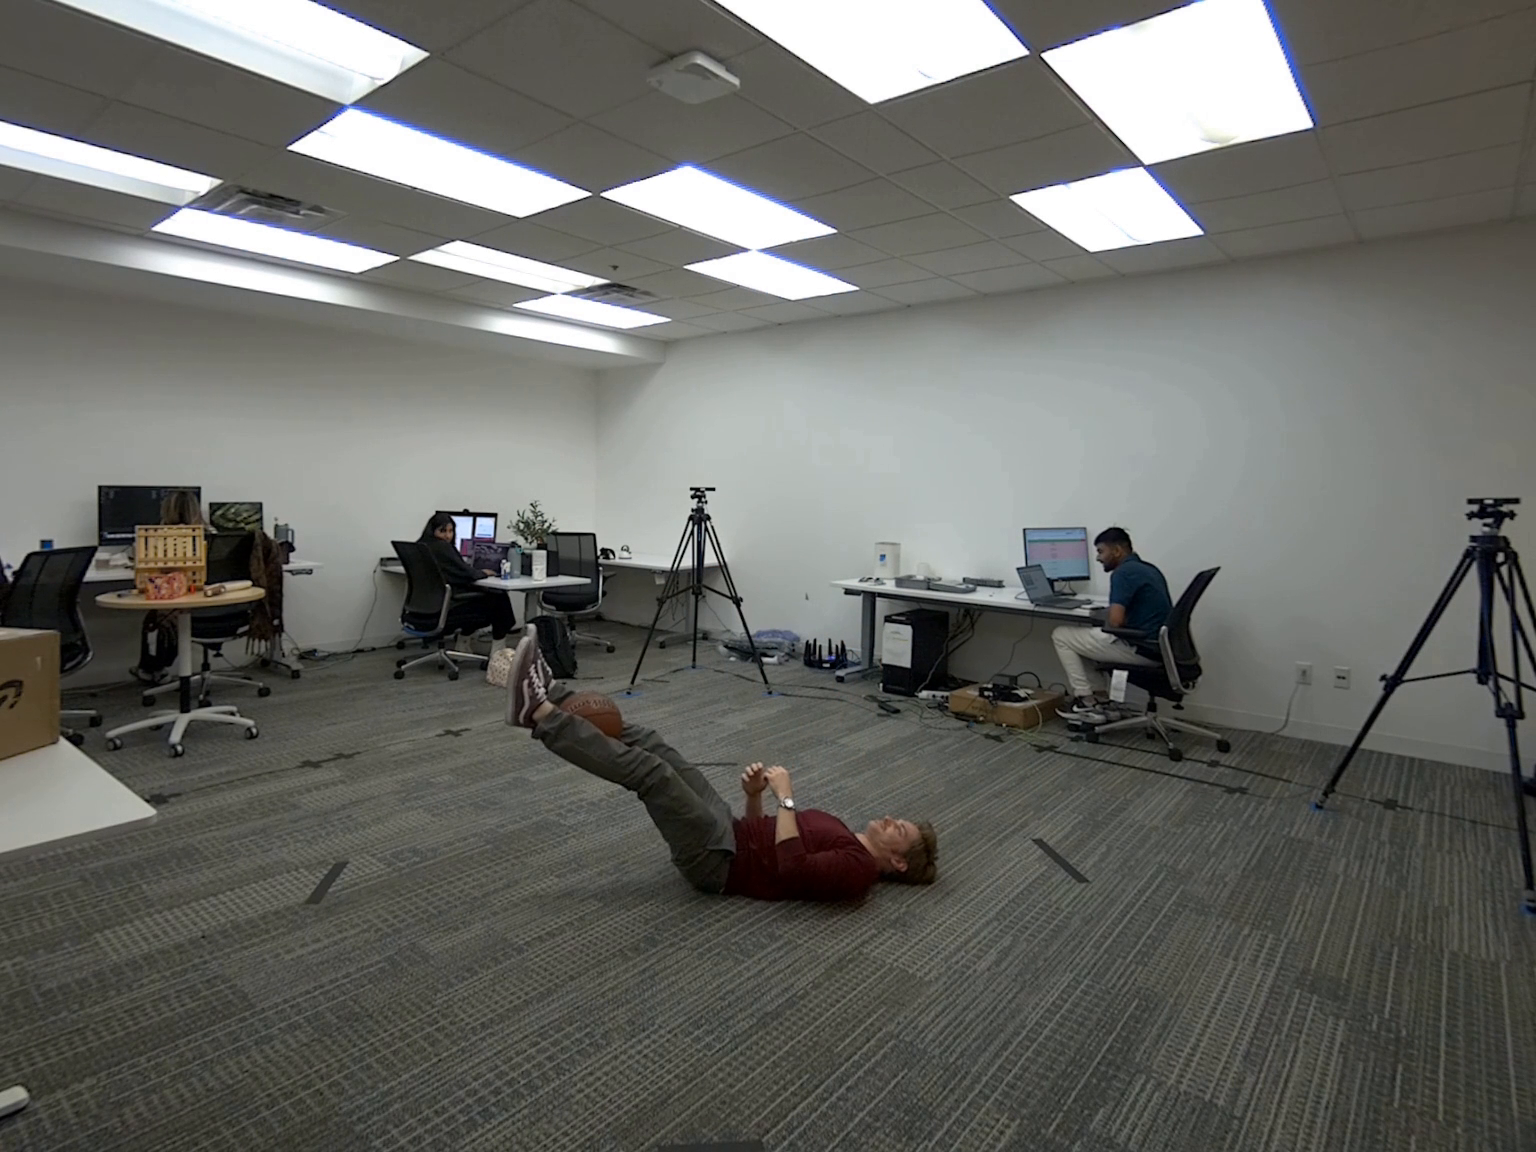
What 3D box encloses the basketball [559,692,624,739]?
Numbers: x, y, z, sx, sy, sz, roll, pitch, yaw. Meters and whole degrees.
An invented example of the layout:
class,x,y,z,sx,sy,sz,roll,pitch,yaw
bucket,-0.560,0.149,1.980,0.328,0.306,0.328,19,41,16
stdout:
class,x,y,z,sx,sy,sz,roll,pitch,yaw
basketball,-0.626,0.515,2.939,0.235,0.235,0.237,1,4,-2
